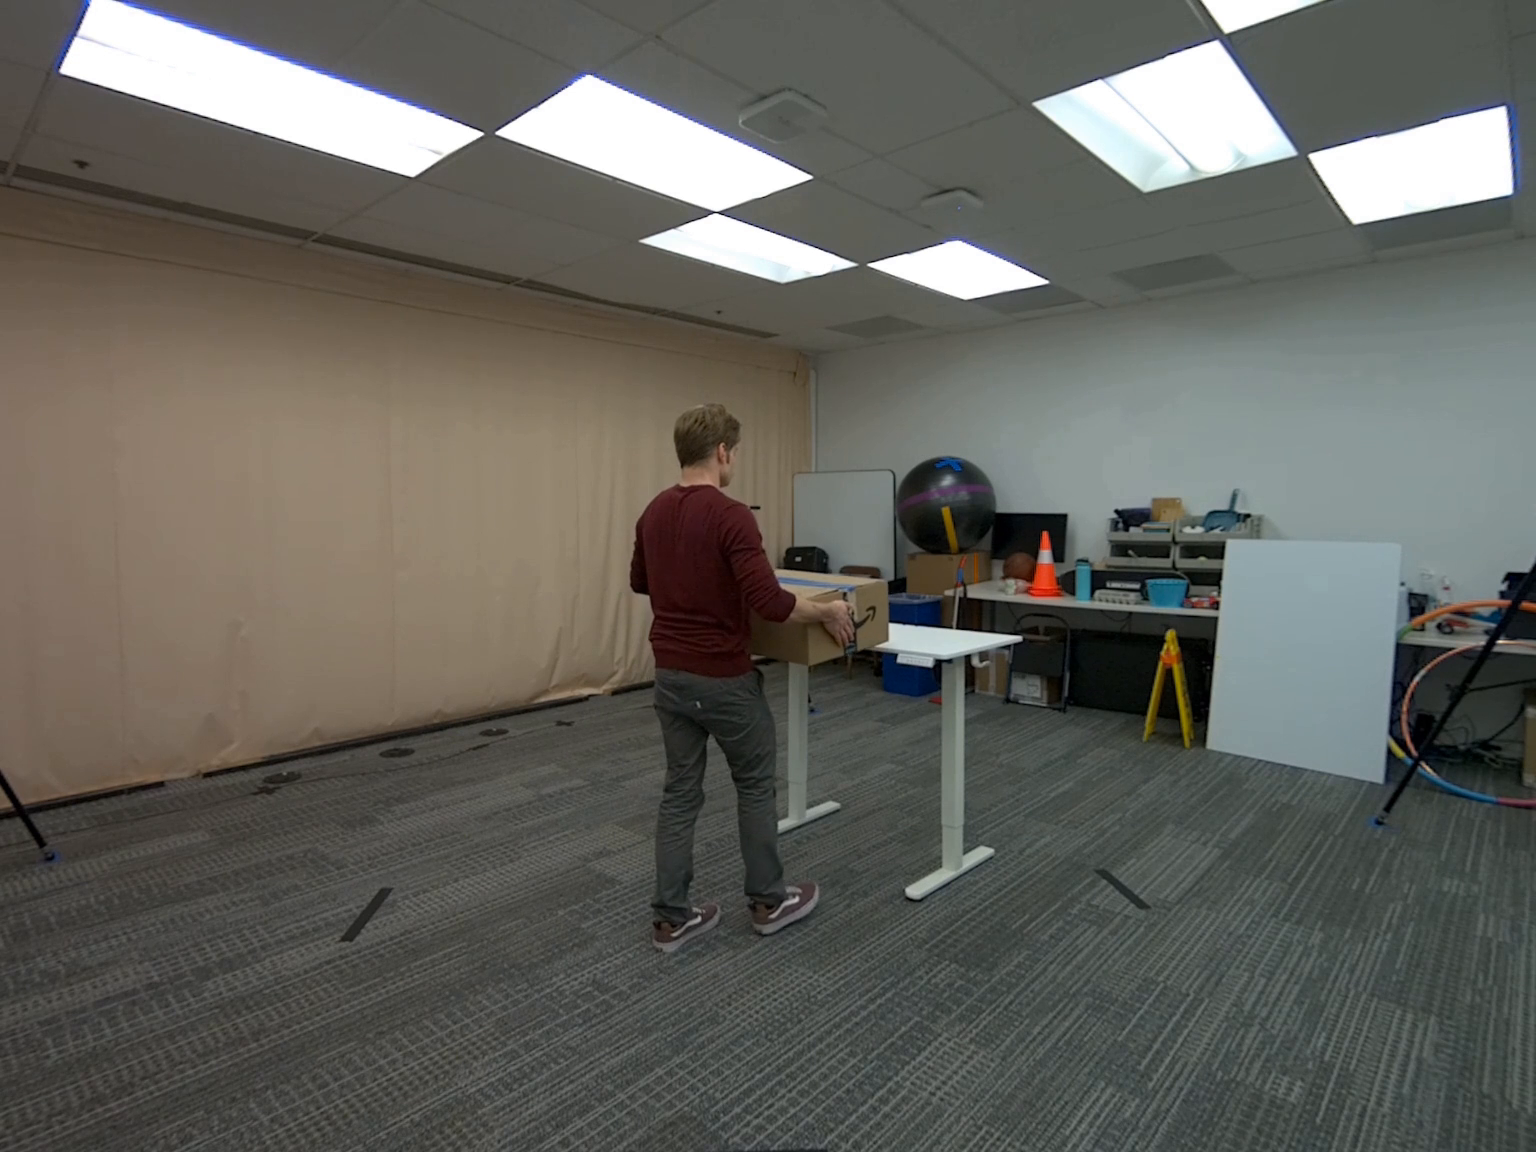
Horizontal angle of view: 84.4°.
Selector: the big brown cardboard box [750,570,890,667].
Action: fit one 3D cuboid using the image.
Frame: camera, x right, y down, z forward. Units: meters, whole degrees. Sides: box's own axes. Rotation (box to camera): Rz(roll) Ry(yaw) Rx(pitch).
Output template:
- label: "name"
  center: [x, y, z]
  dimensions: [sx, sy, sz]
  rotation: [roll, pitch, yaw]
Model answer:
- label: "big brown cardboard box"
  center: [0.068, 0.124, 2.947]
  dimensions: [0.406, 0.232, 0.609]
  rotation: [-11, 13, -44]
